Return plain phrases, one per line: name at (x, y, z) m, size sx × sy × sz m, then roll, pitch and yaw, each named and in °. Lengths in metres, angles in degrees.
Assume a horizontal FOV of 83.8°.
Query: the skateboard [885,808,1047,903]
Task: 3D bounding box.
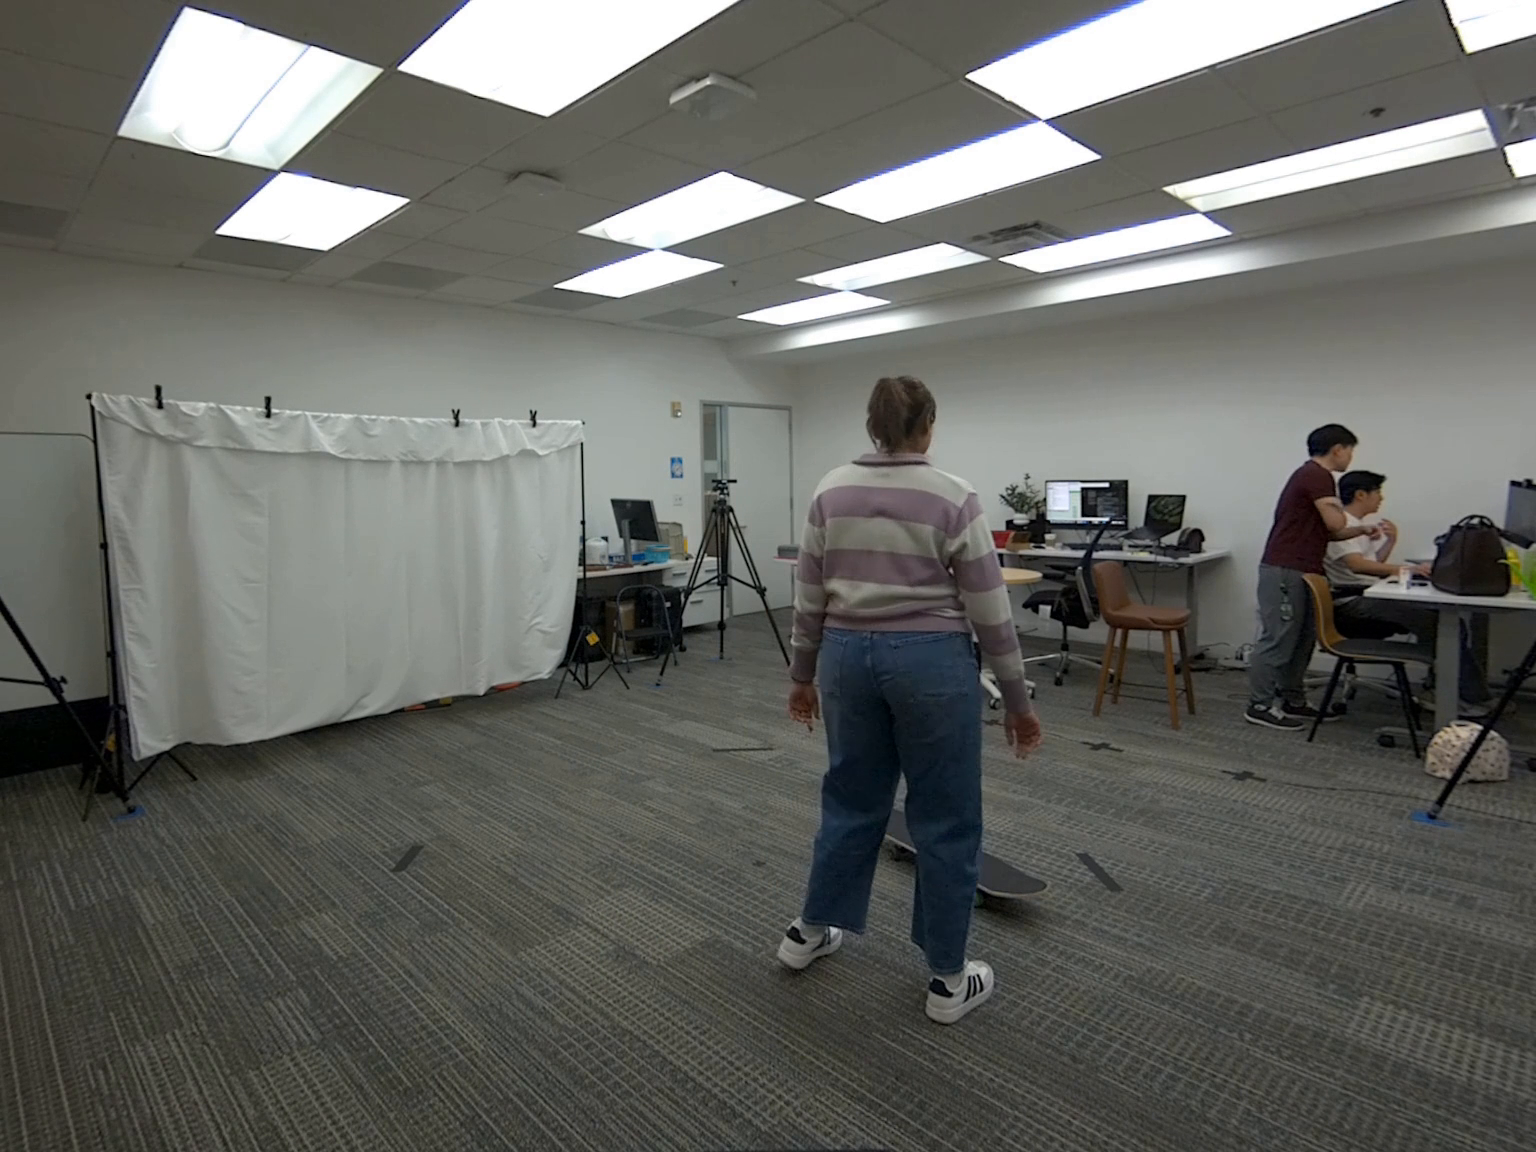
skateboard at (0.634, 0.991, 2.980) m, size 0.189 × 0.110 × 0.807 m, roll -4°, pitch 7°, yaw -30°
